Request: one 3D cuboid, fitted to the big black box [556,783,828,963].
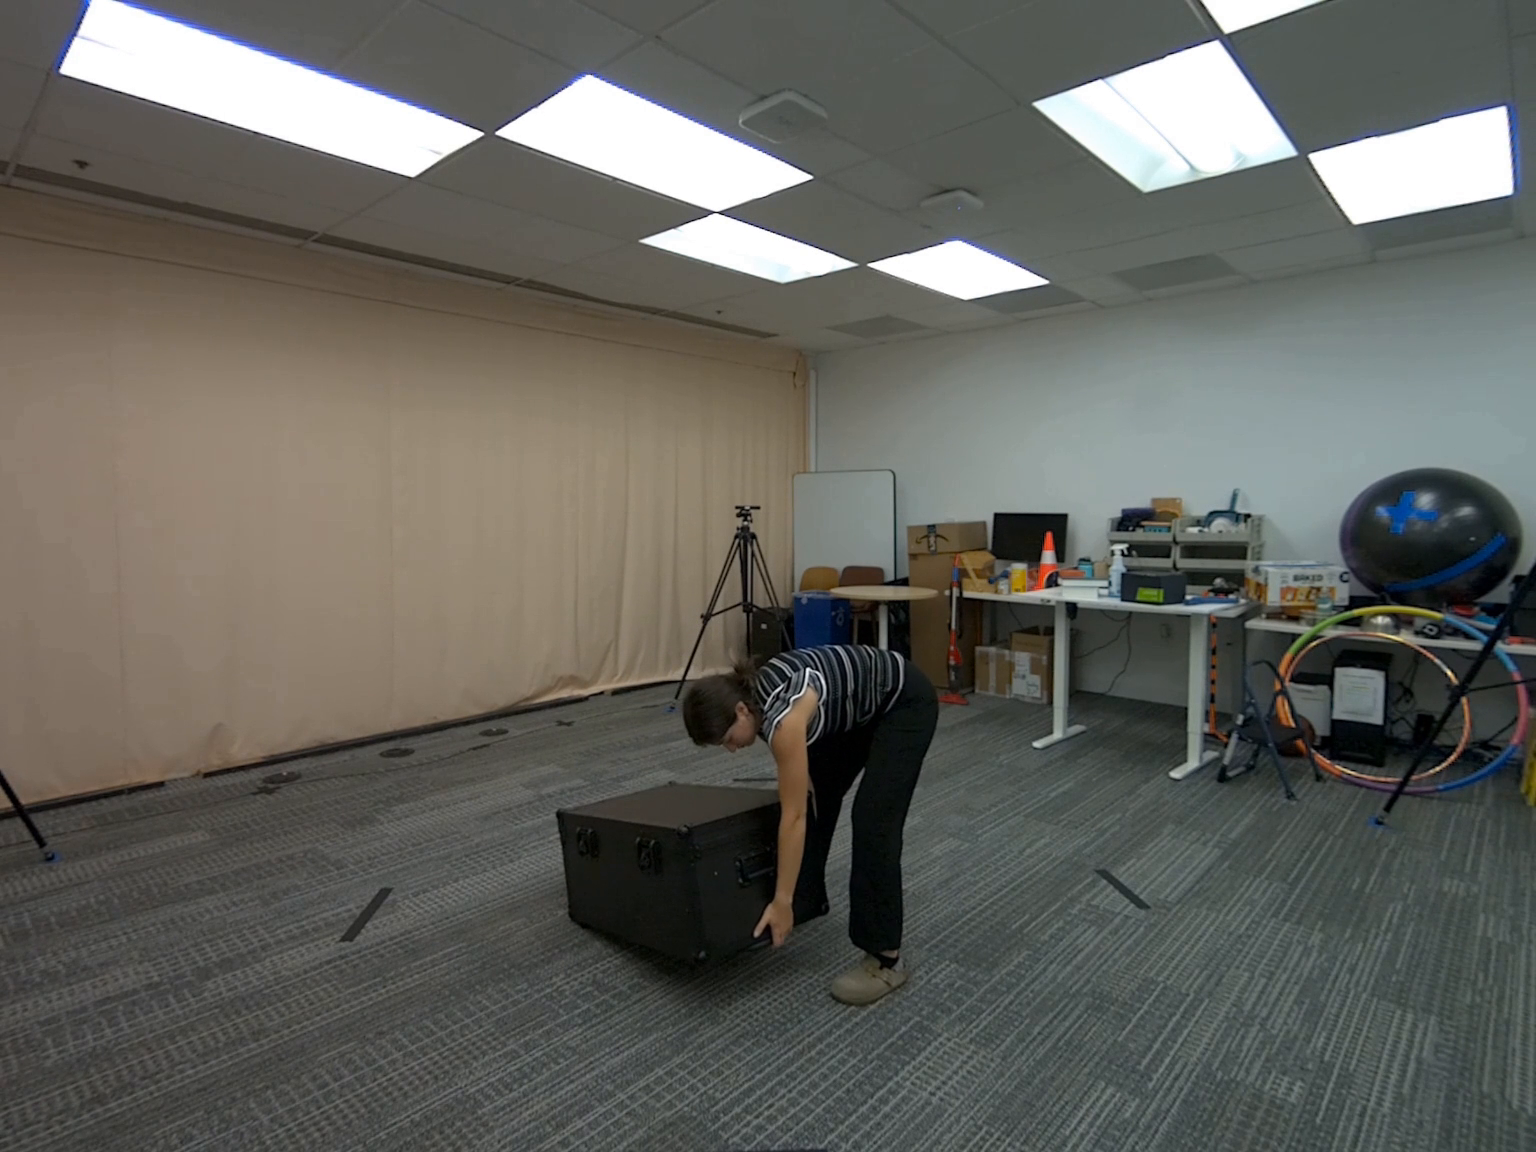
[{"bbox_3d":[-0.292,0.925,2.726,0.506,0.398,0.884,-4,-6,-39],"label":"big black box"}]
